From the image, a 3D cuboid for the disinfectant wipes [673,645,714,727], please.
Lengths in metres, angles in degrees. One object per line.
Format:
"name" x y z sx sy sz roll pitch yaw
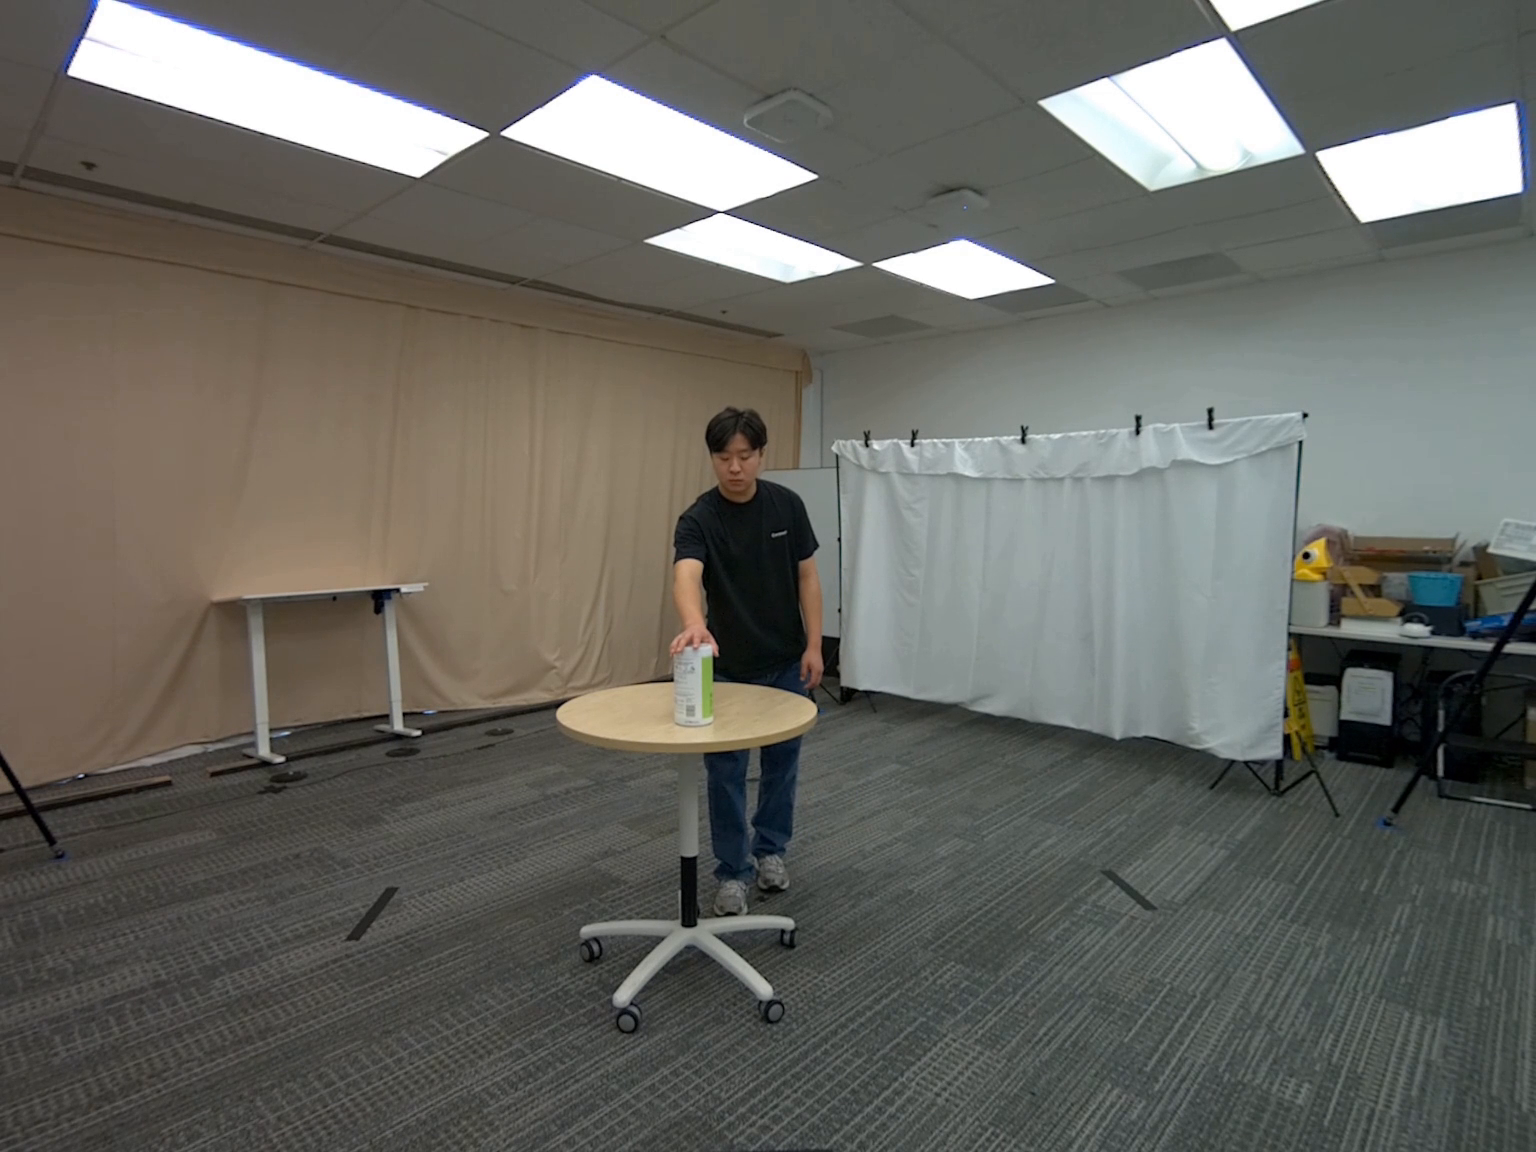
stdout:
"disinfectant wipes" -0.204 0.298 2.316 0.118 0.217 0.118 0 2 -2
